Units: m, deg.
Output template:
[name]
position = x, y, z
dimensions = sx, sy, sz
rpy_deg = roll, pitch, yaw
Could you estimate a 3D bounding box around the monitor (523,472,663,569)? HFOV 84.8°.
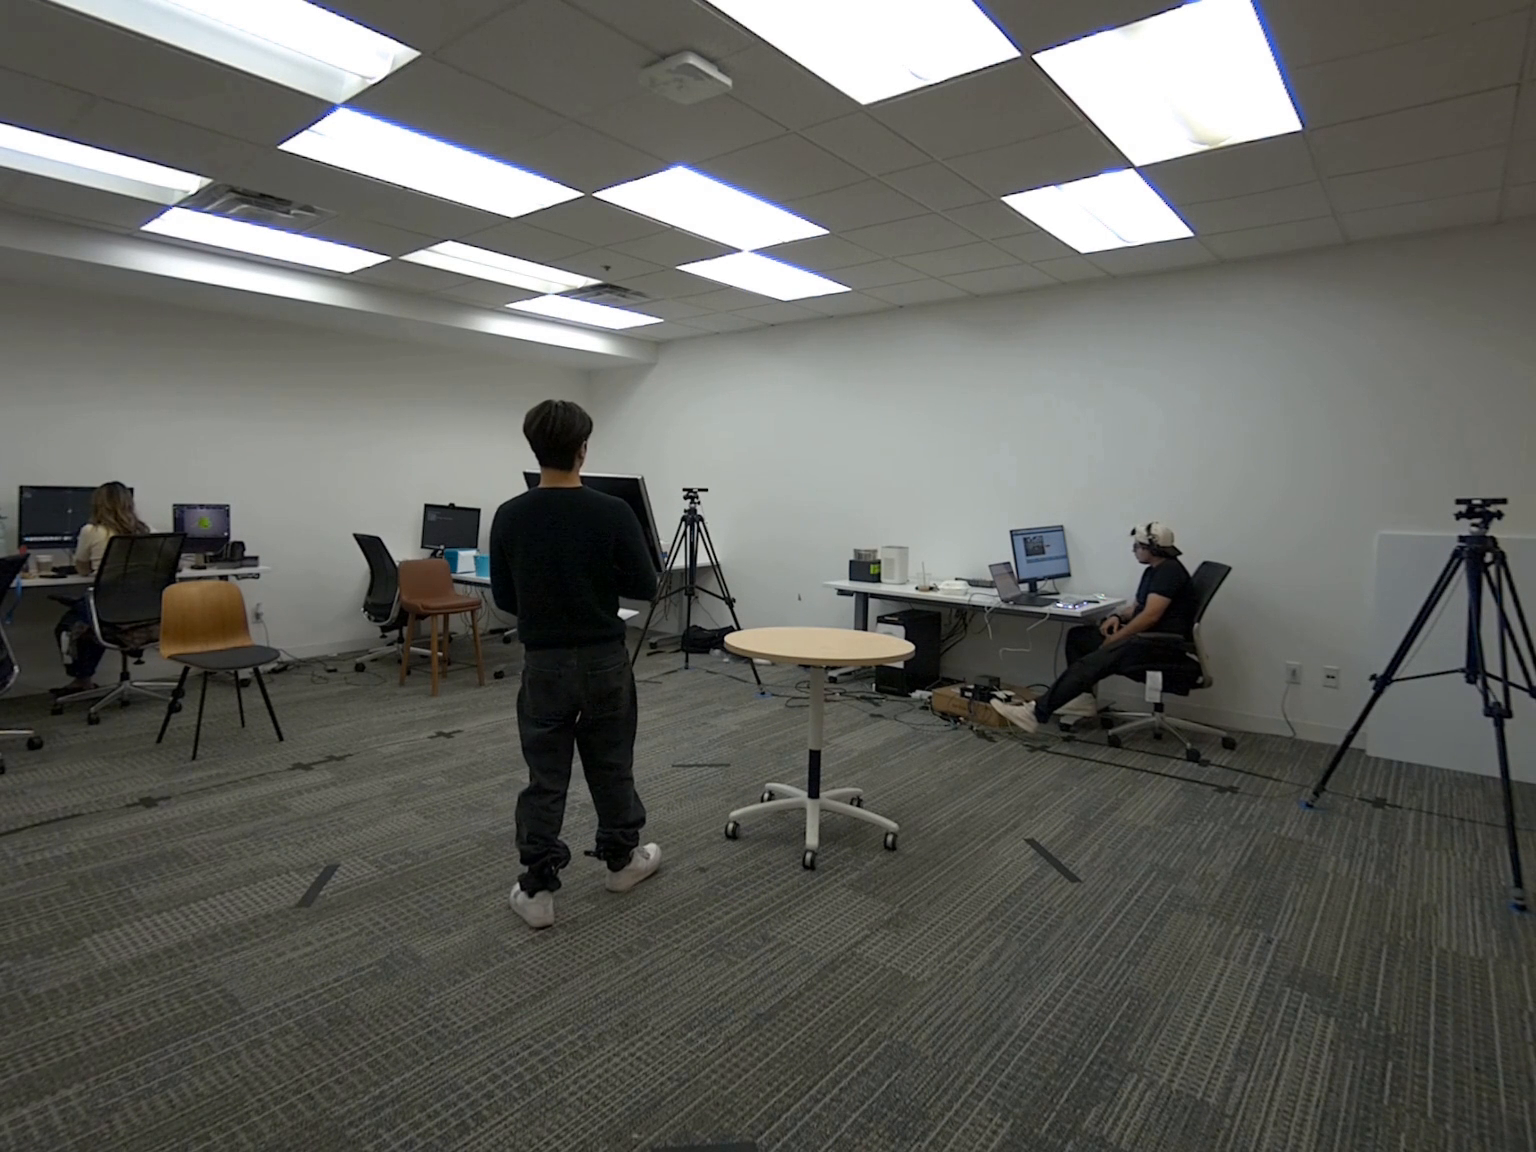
[monitor]
position = -0.640, -0.111, 3.036
dimensions = 0.547, 0.511, 0.170
rpy_deg = 6, 12, 35
